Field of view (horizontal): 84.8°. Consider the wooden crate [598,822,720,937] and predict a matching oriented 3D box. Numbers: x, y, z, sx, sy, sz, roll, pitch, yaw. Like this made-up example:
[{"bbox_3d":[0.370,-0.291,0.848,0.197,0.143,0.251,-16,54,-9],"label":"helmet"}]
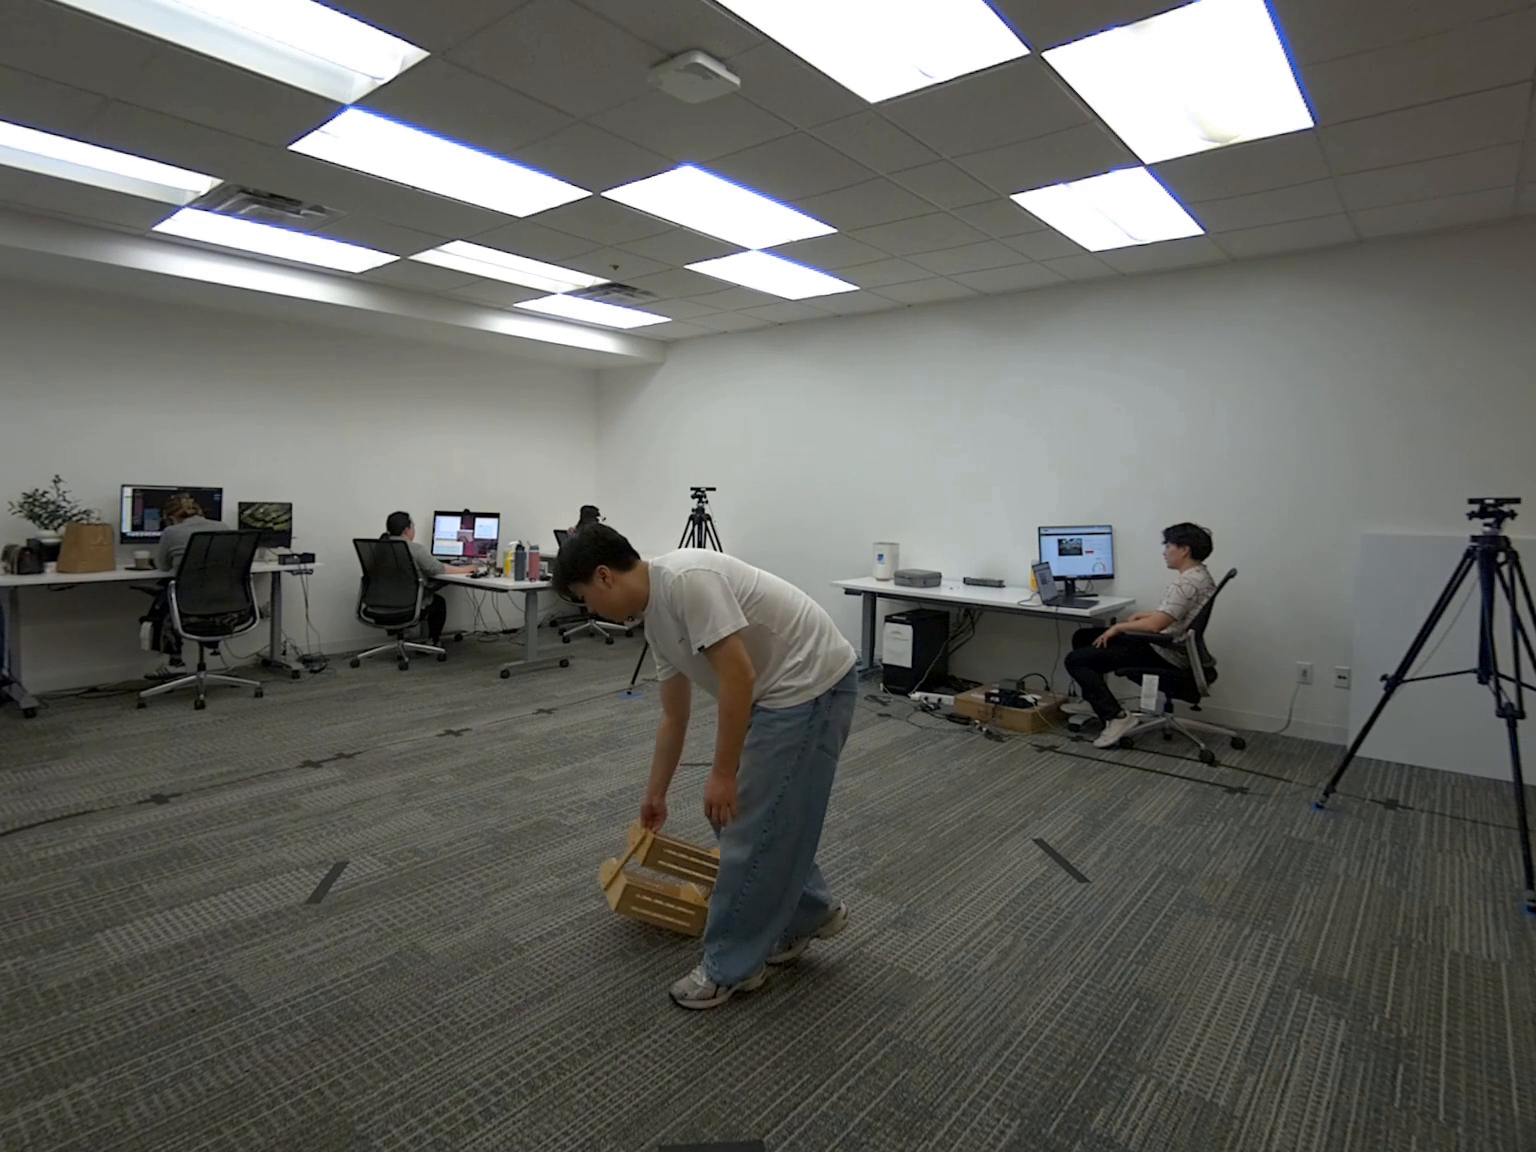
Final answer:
[{"bbox_3d":[-0.328,0.918,2.674,0.316,0.274,0.310,26,-5,-22],"label":"wooden crate"}]
